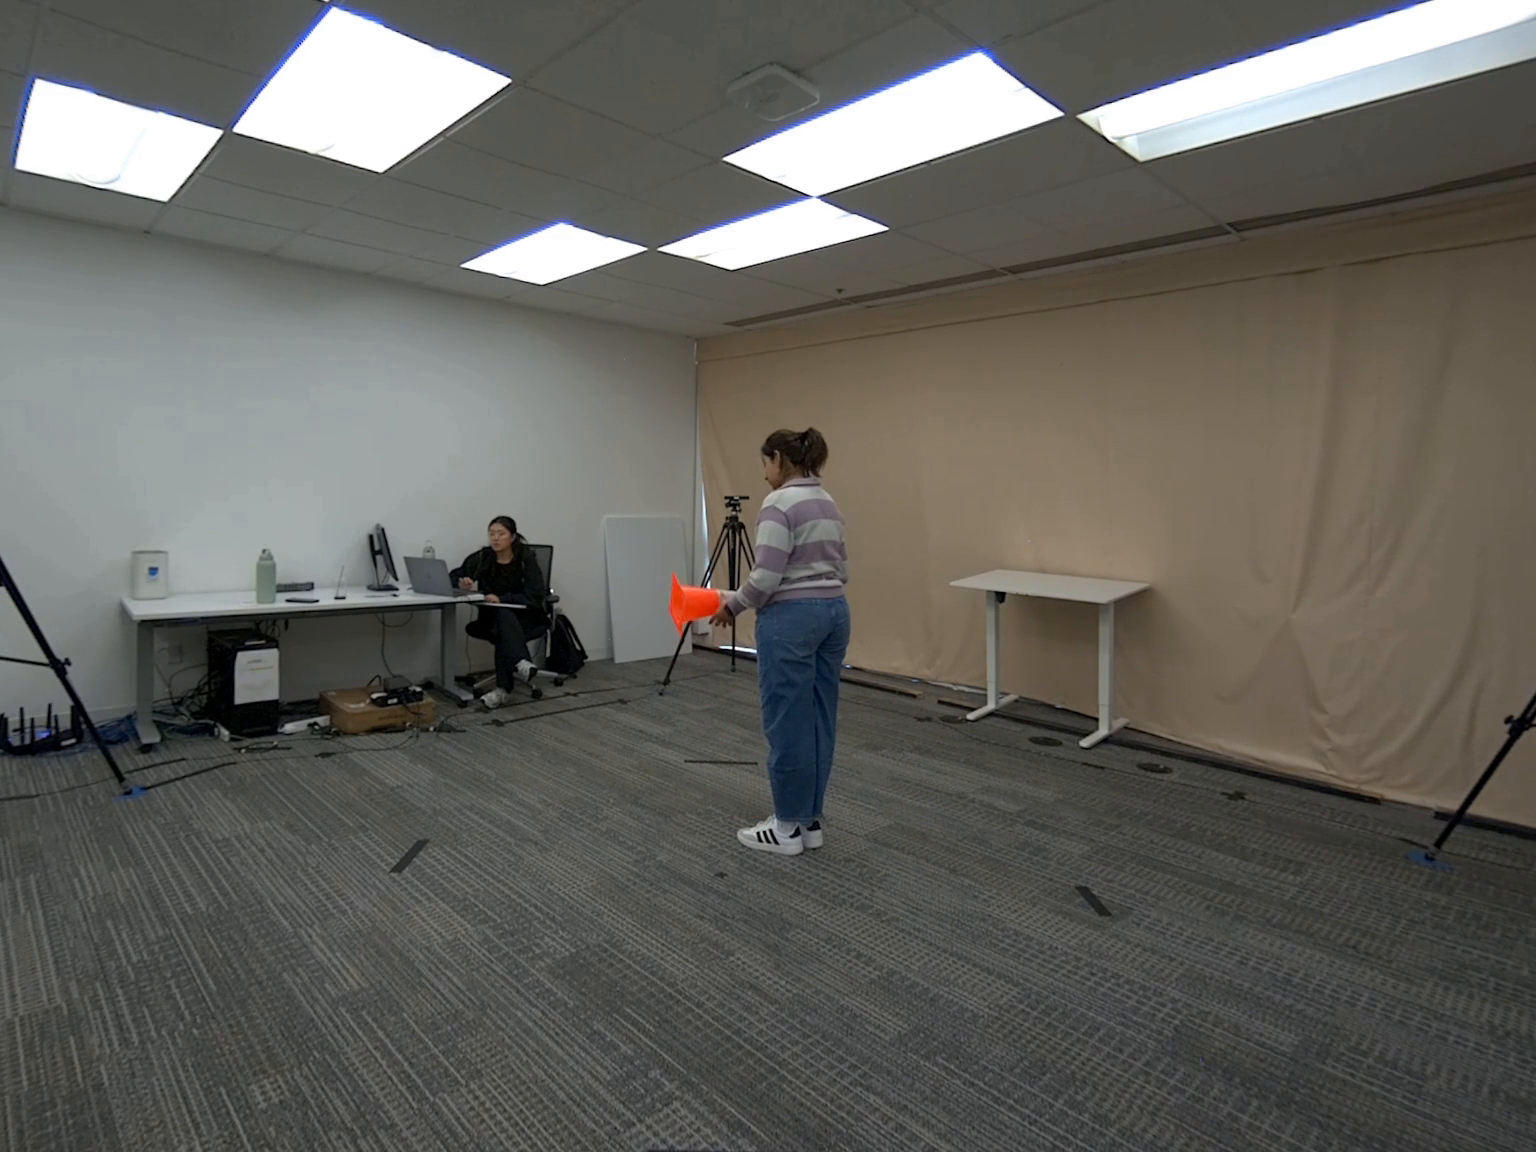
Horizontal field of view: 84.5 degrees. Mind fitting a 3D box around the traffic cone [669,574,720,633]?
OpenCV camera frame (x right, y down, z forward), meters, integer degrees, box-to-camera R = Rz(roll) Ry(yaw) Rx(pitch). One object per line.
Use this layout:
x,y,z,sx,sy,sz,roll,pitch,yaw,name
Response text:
-0.196,0.121,3.507,0.379,0.200,0.210,-1,30,-15,traffic cone
